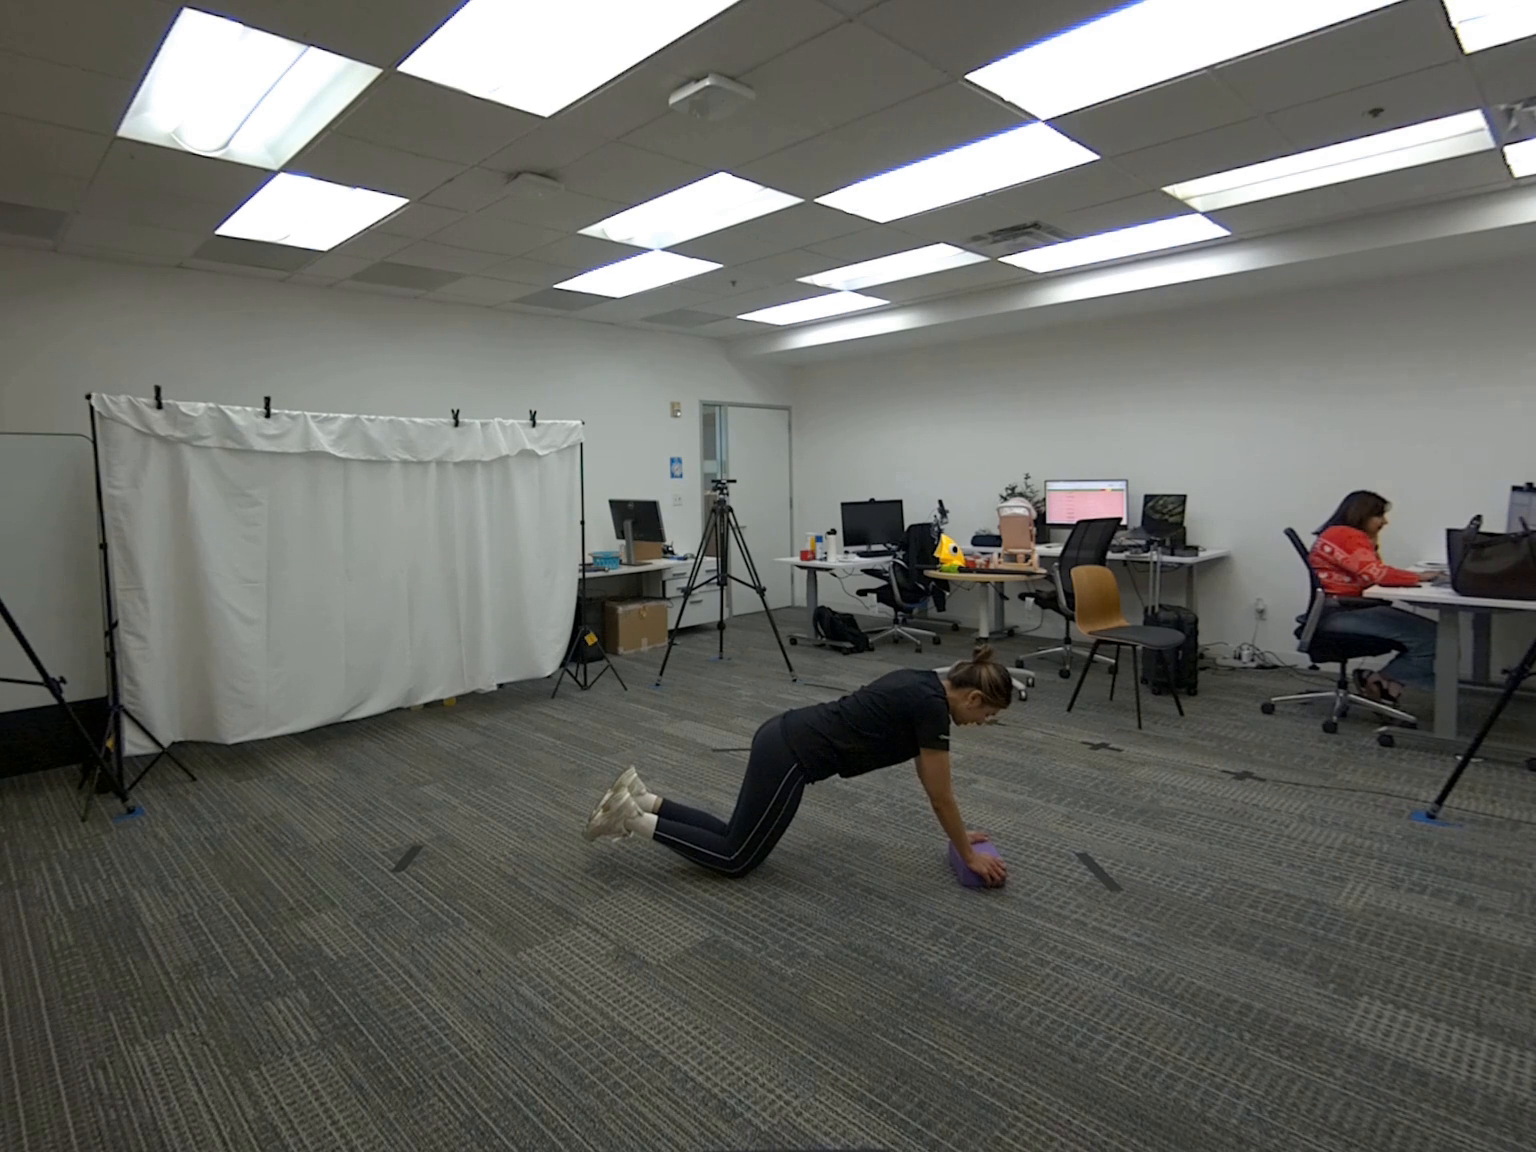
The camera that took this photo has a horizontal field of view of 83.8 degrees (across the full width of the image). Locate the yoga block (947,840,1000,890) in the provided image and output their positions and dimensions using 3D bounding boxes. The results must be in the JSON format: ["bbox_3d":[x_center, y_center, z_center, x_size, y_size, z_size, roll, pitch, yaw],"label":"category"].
[{"bbox_3d":[0.731,0.999,3.002,0.149,0.076,0.230,-1,7,1],"label":"yoga block"}]
